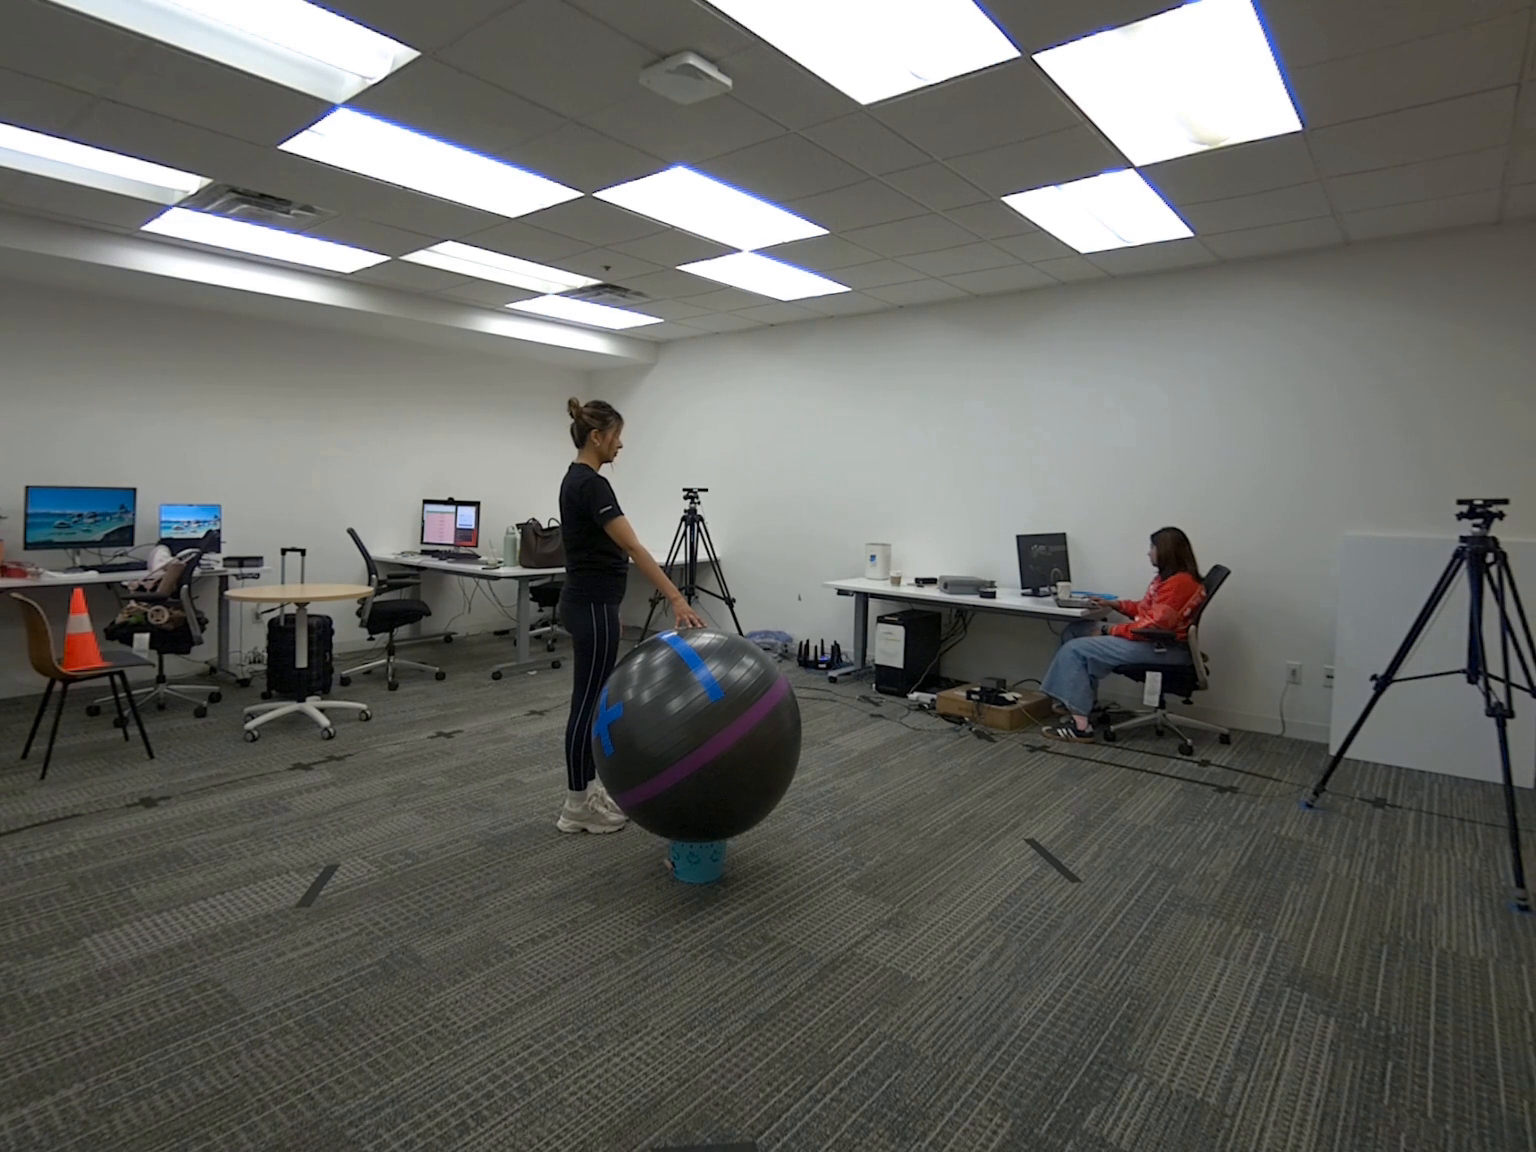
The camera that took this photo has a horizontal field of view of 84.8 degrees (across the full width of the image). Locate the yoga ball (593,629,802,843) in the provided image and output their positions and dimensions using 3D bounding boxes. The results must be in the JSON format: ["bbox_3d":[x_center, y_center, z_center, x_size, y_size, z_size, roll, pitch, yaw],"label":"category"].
[{"bbox_3d":[-0.269,0.568,3.072,0.757,0.755,0.762,1,4,-2],"label":"yoga ball"}]
